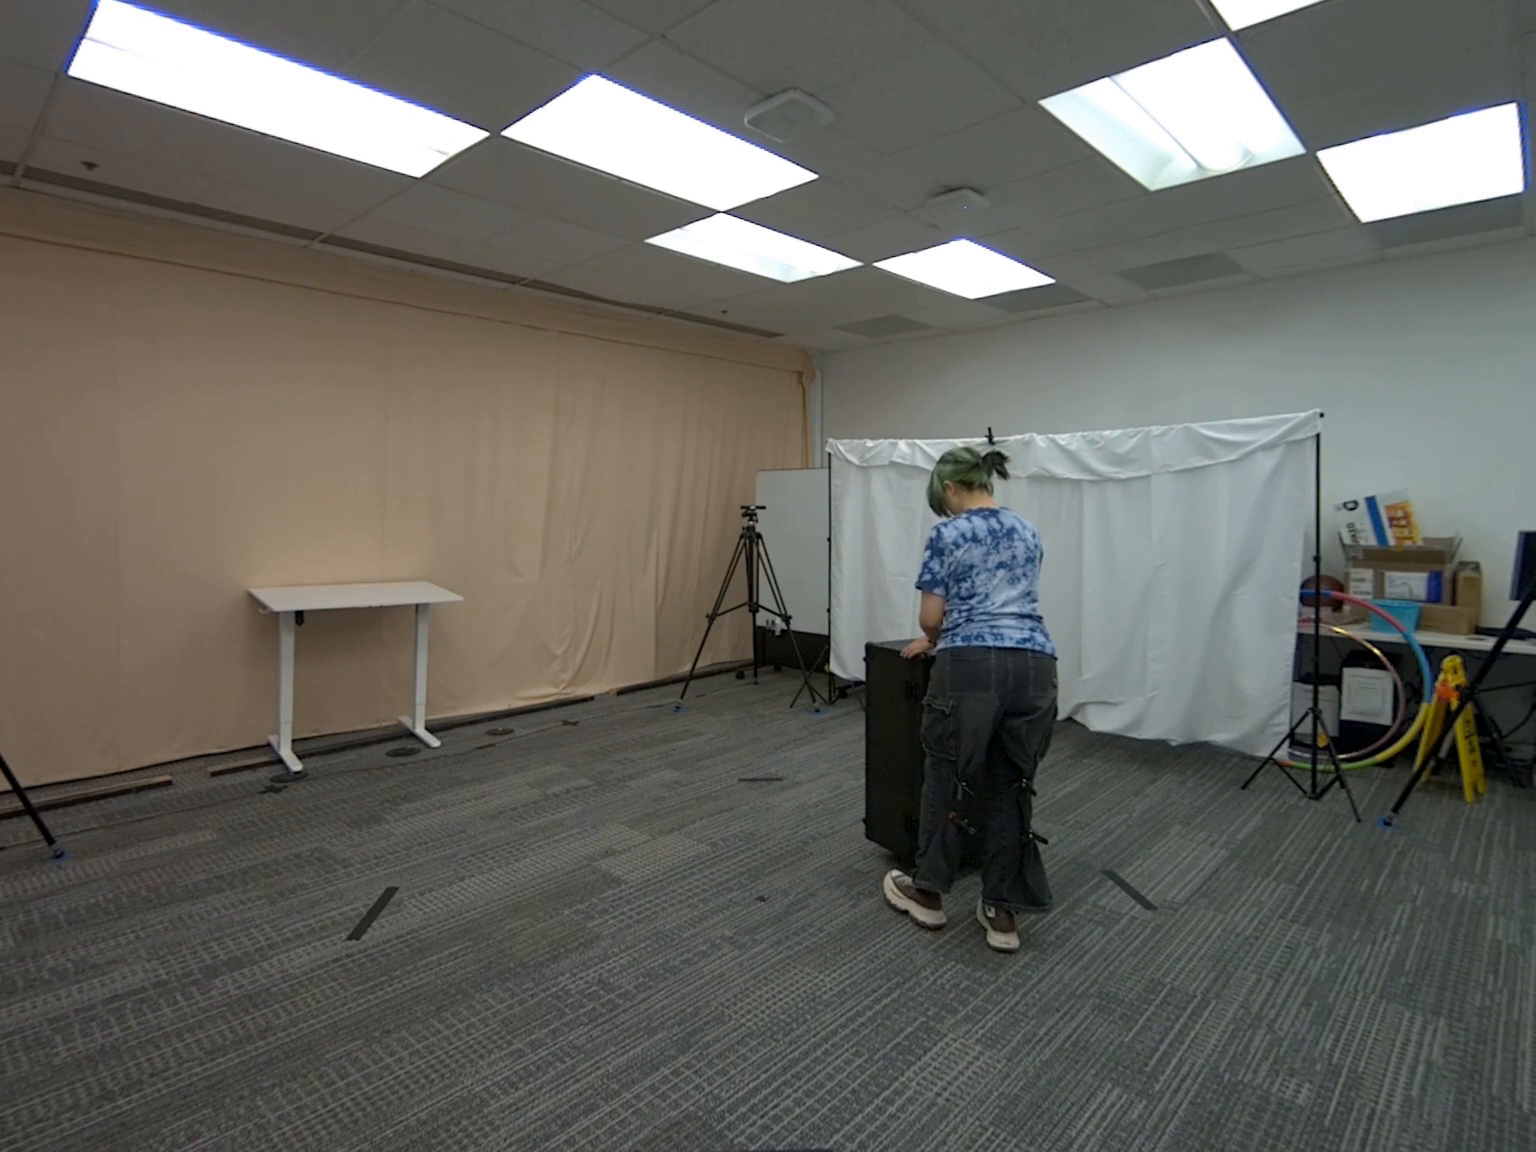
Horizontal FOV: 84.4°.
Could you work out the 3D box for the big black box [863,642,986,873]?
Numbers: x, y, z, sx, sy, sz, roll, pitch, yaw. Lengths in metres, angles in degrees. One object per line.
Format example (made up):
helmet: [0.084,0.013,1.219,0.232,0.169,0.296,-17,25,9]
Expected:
big black box: [0.672,0.694,3.299,0.508,0.860,0.407,-2,2,-27]
